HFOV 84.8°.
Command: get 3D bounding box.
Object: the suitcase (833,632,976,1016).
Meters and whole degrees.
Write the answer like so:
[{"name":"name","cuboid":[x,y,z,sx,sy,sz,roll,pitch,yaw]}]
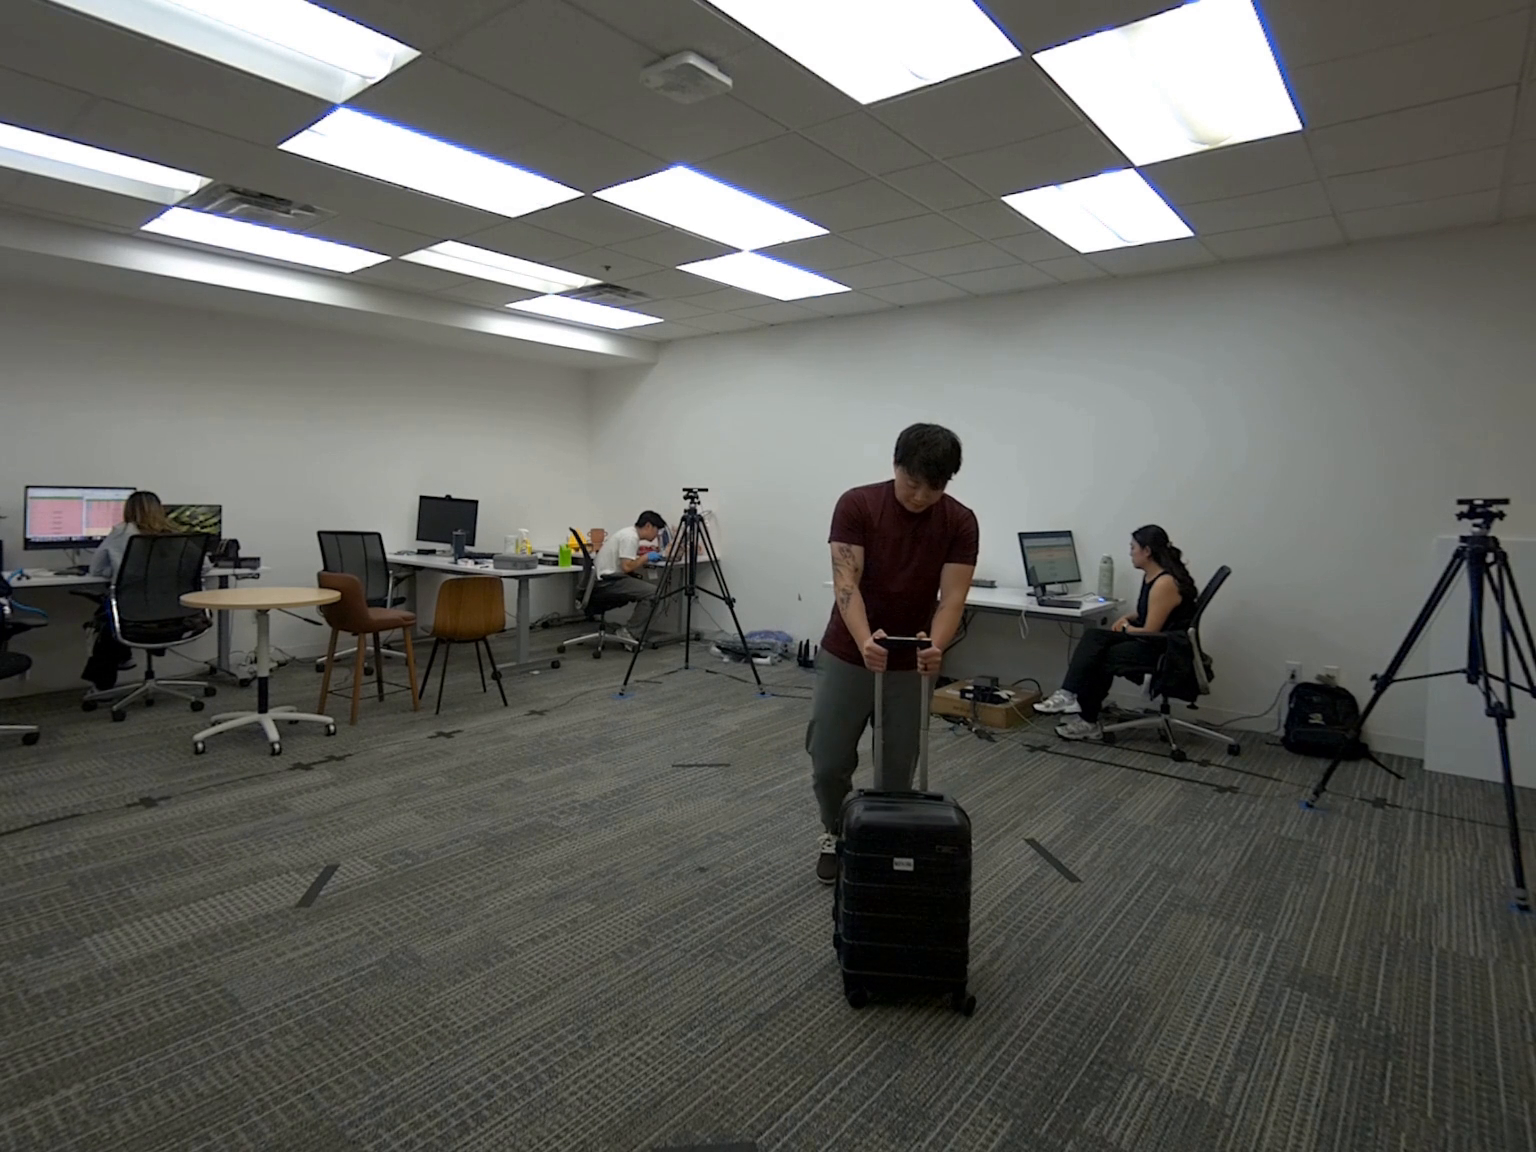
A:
[{"name":"suitcase","cuboid":[0.373,0.681,2.351,0.386,0.972,0.257,1,7,5]}]
